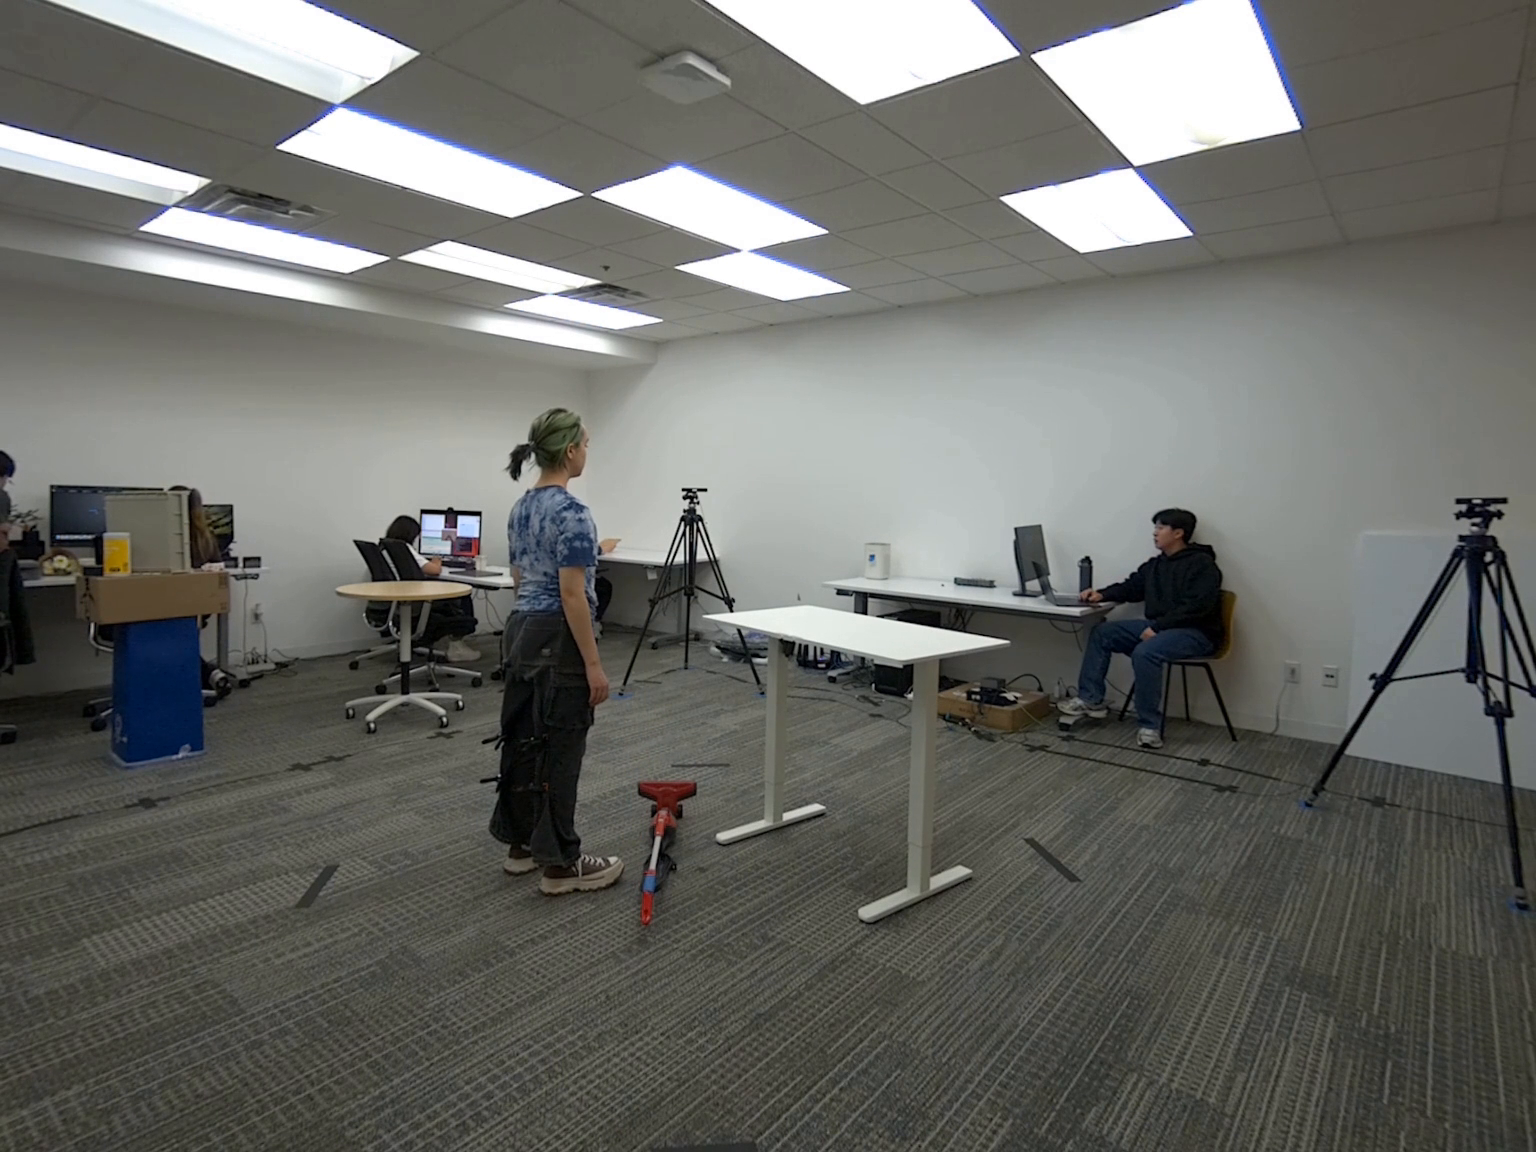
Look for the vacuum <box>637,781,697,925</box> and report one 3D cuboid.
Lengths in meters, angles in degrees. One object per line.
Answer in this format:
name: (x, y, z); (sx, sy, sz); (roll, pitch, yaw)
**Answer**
vacuum: (-0.402, 1.005, 3.106); (0.252, 0.143, 1.058); (0, 7, -4)
